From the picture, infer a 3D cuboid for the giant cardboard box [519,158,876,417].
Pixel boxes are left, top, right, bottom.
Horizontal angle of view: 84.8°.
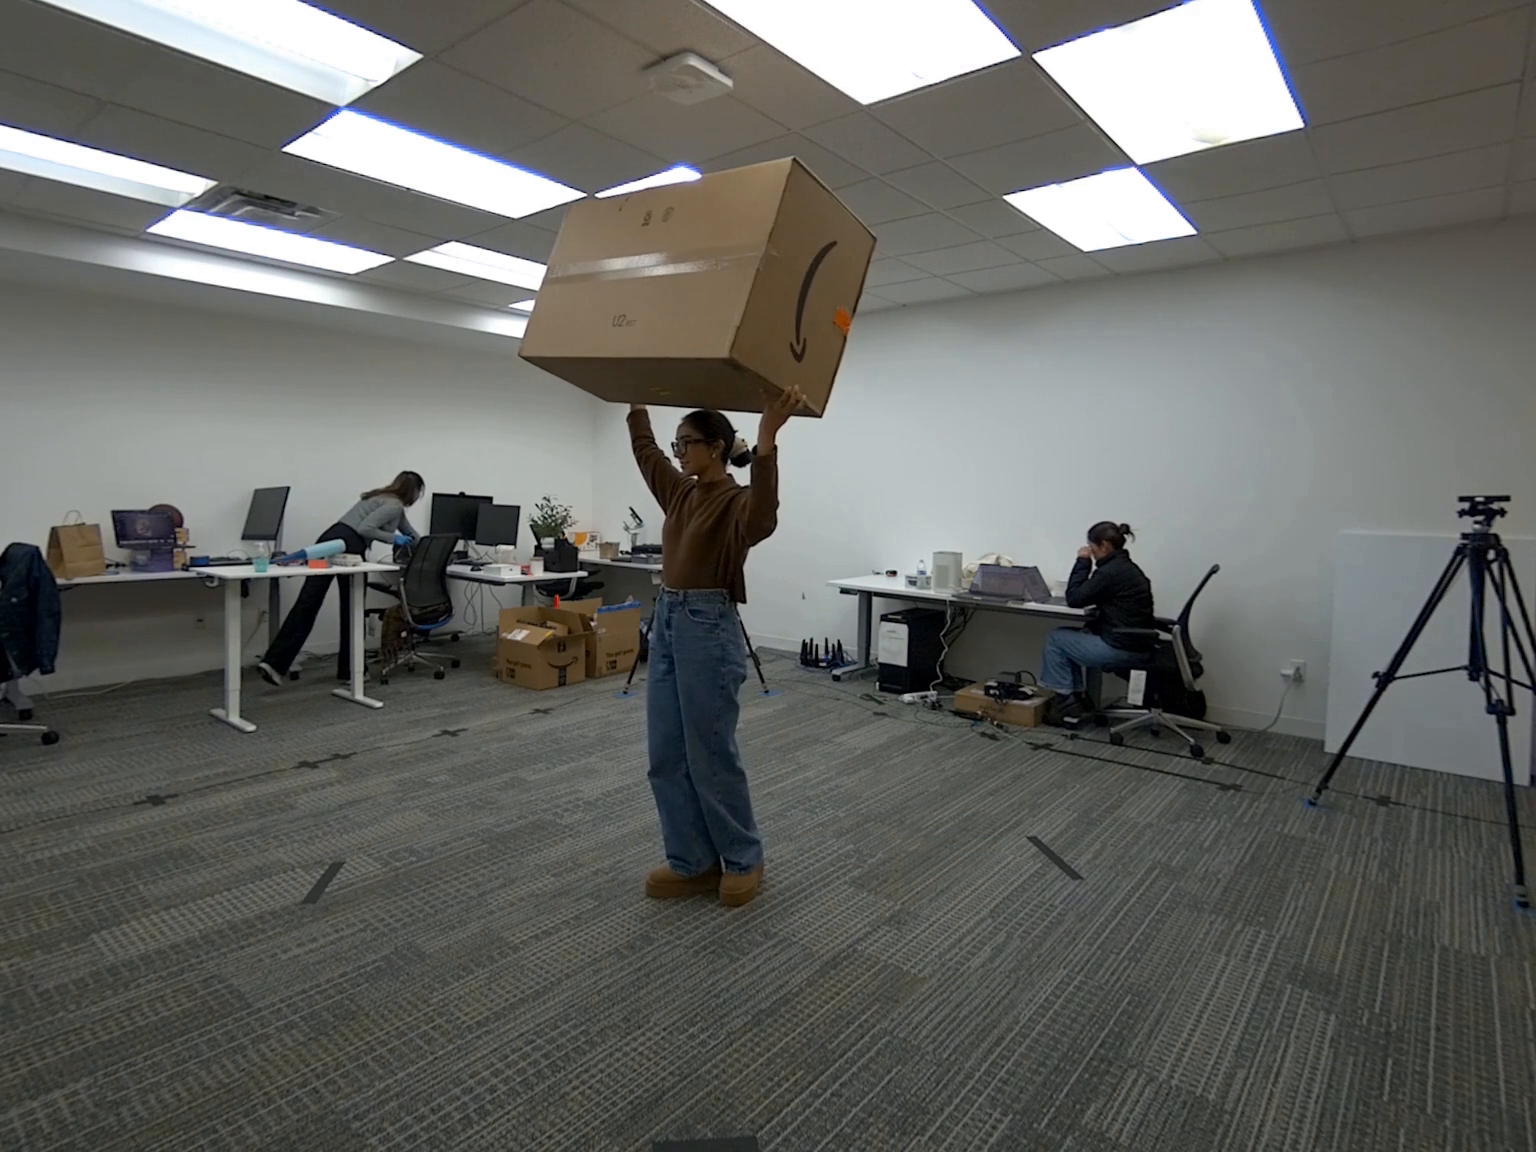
[{"bbox_3d":[-0.267,-0.872,2.706,1.065,0.579,0.409,13,-7,42],"label":"giant cardboard box"}]
